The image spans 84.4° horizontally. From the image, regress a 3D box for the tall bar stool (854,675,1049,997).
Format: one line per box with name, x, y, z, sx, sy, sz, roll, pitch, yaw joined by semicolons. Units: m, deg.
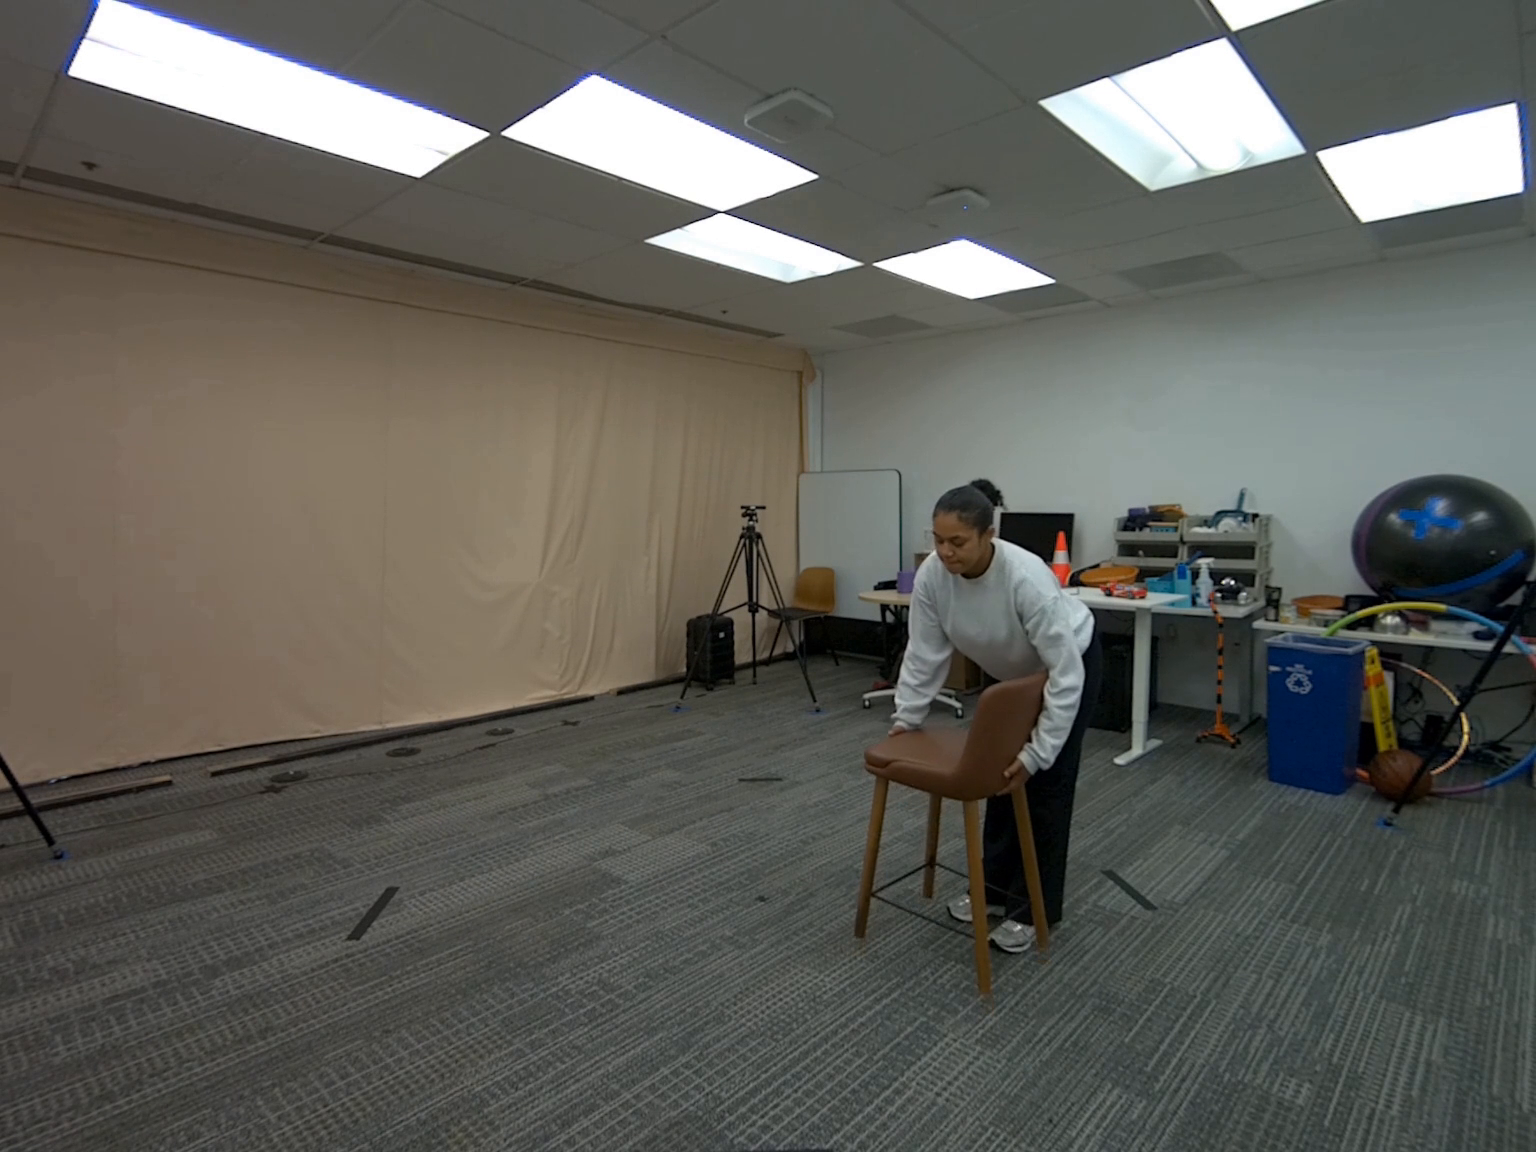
tall bar stool;0.579;0.695;2.571;0.442;0.887;0.484;-4;8;-44
